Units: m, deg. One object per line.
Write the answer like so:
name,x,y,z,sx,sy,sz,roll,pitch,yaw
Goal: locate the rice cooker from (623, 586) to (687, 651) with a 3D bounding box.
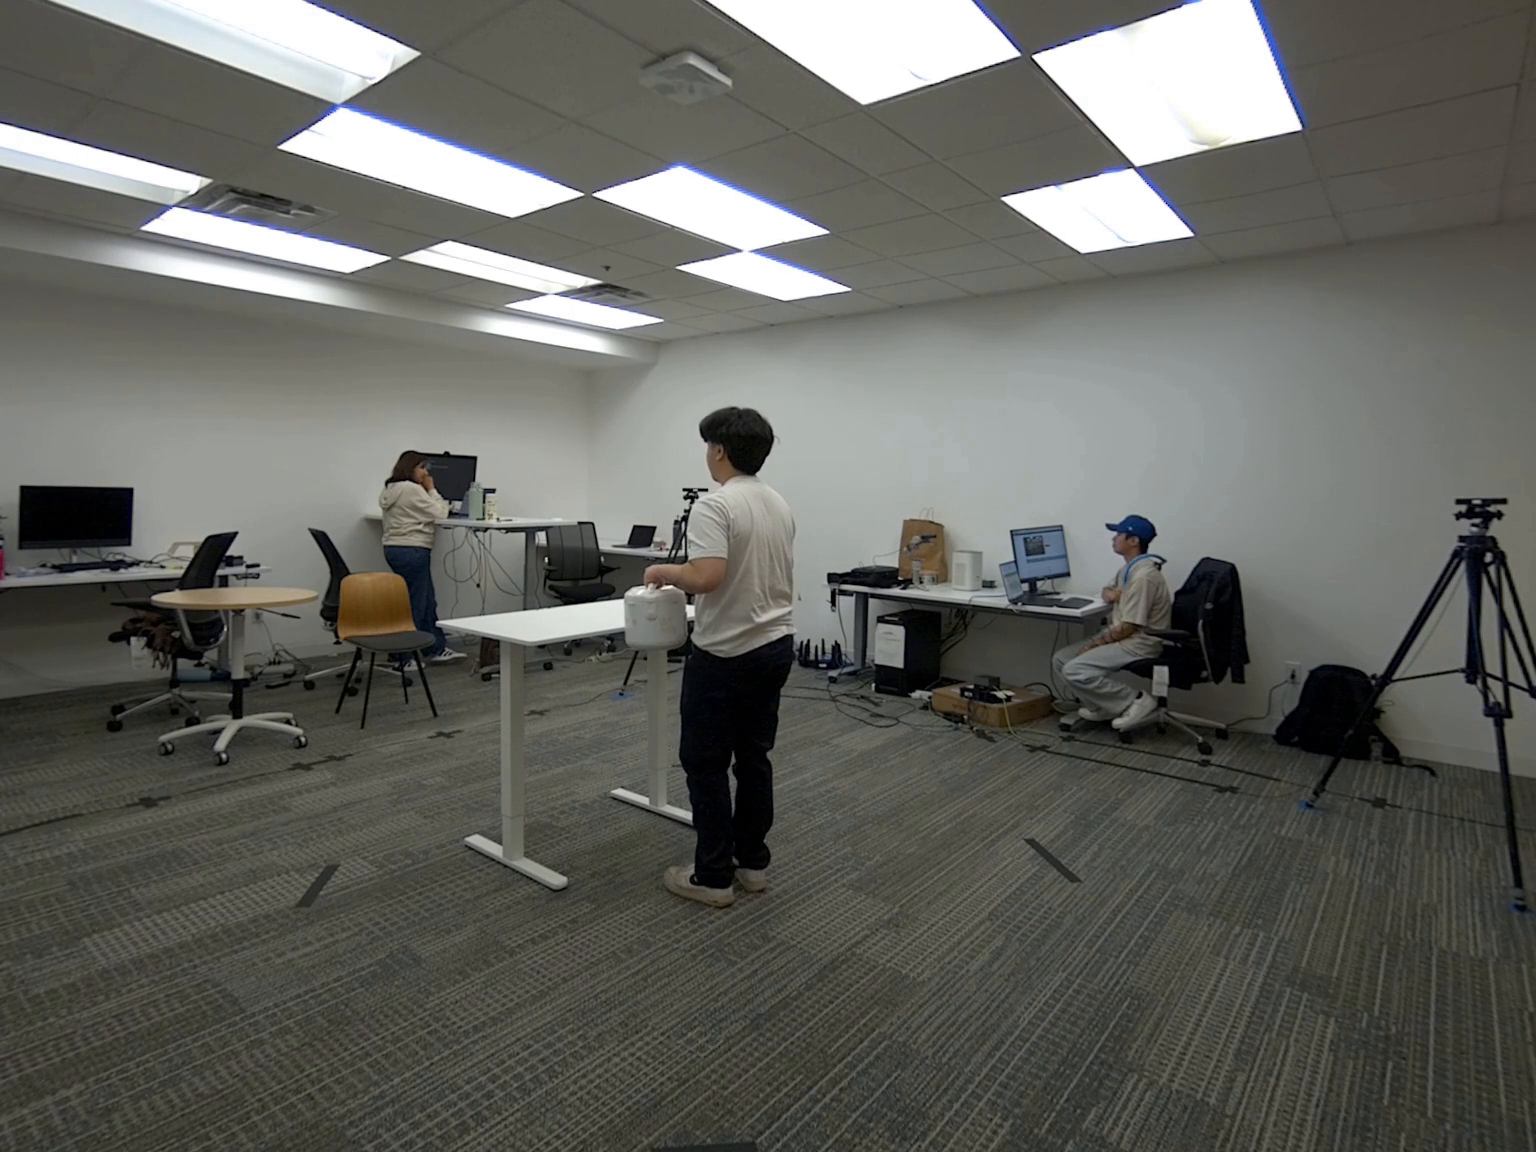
rice cooker,-0.398,0.129,2.941,0.218,0.232,0.220,-2,3,2
